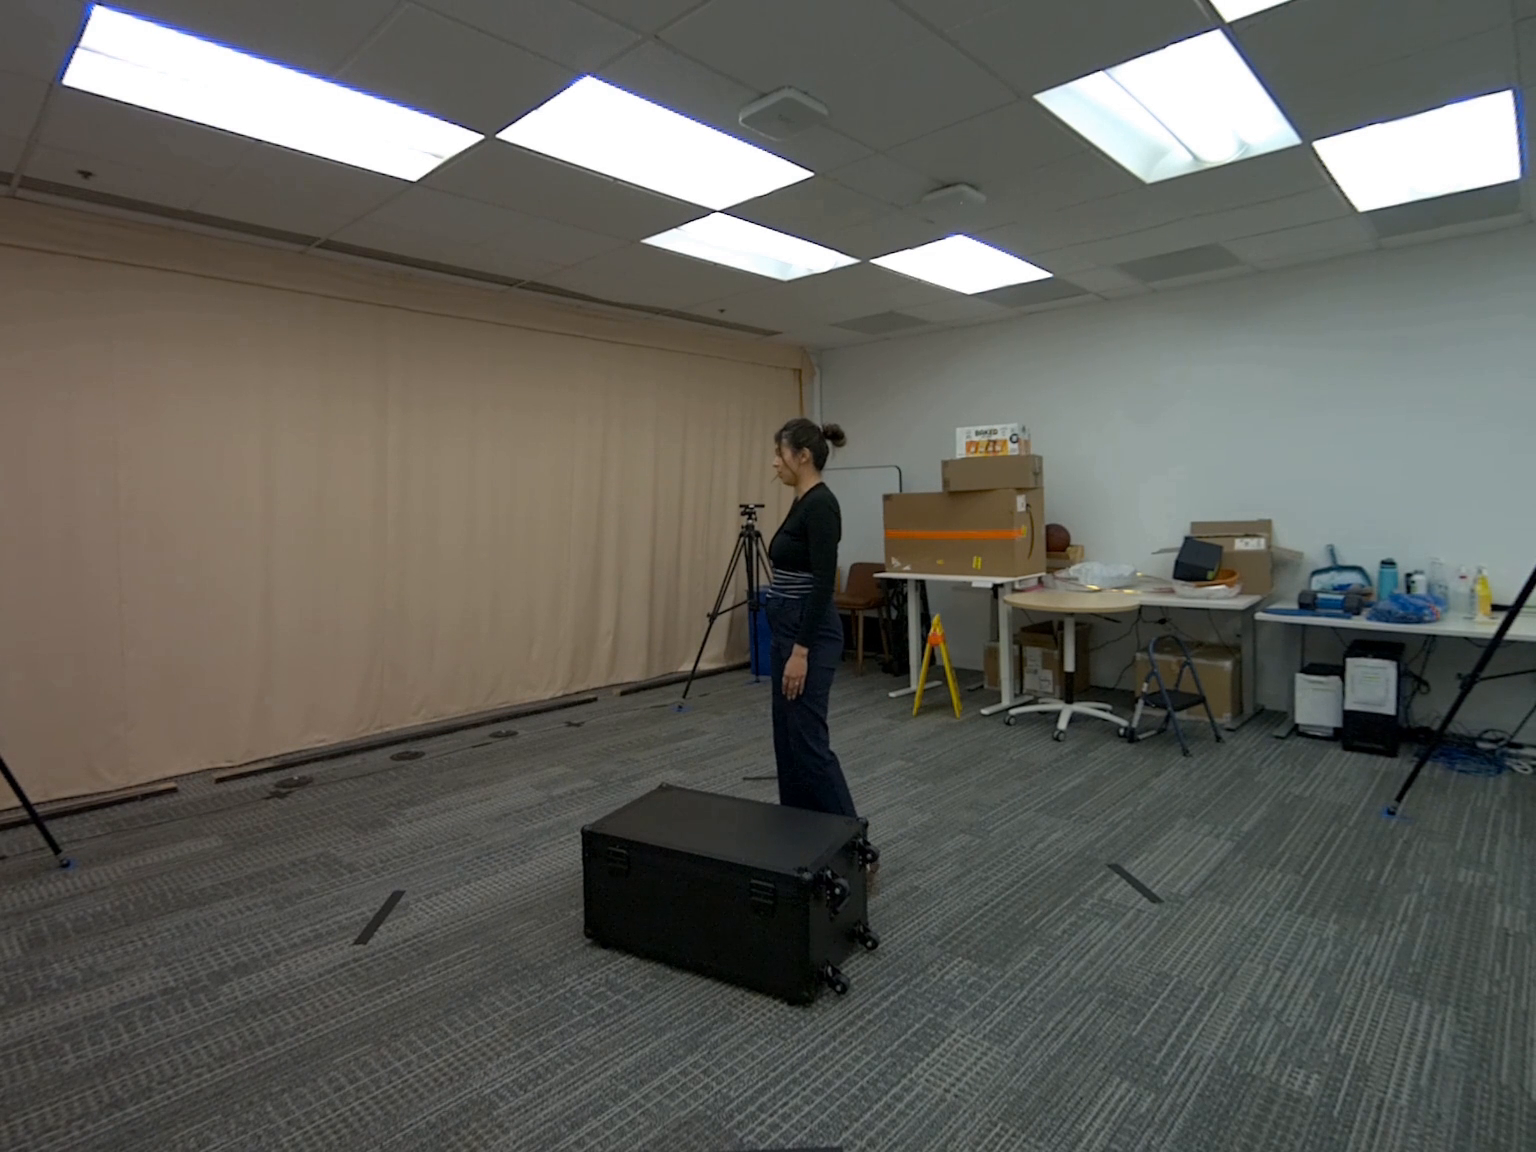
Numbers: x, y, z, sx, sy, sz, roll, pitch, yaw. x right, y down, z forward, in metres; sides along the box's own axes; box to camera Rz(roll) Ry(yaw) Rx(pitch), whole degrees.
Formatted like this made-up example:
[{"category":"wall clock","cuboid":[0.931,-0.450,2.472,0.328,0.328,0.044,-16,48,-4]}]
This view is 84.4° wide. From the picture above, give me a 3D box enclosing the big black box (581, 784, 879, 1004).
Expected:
[{"category":"big black box","cuboid":[-0.104,0.978,2.673,0.885,0.395,0.508,1,4,28]}]
